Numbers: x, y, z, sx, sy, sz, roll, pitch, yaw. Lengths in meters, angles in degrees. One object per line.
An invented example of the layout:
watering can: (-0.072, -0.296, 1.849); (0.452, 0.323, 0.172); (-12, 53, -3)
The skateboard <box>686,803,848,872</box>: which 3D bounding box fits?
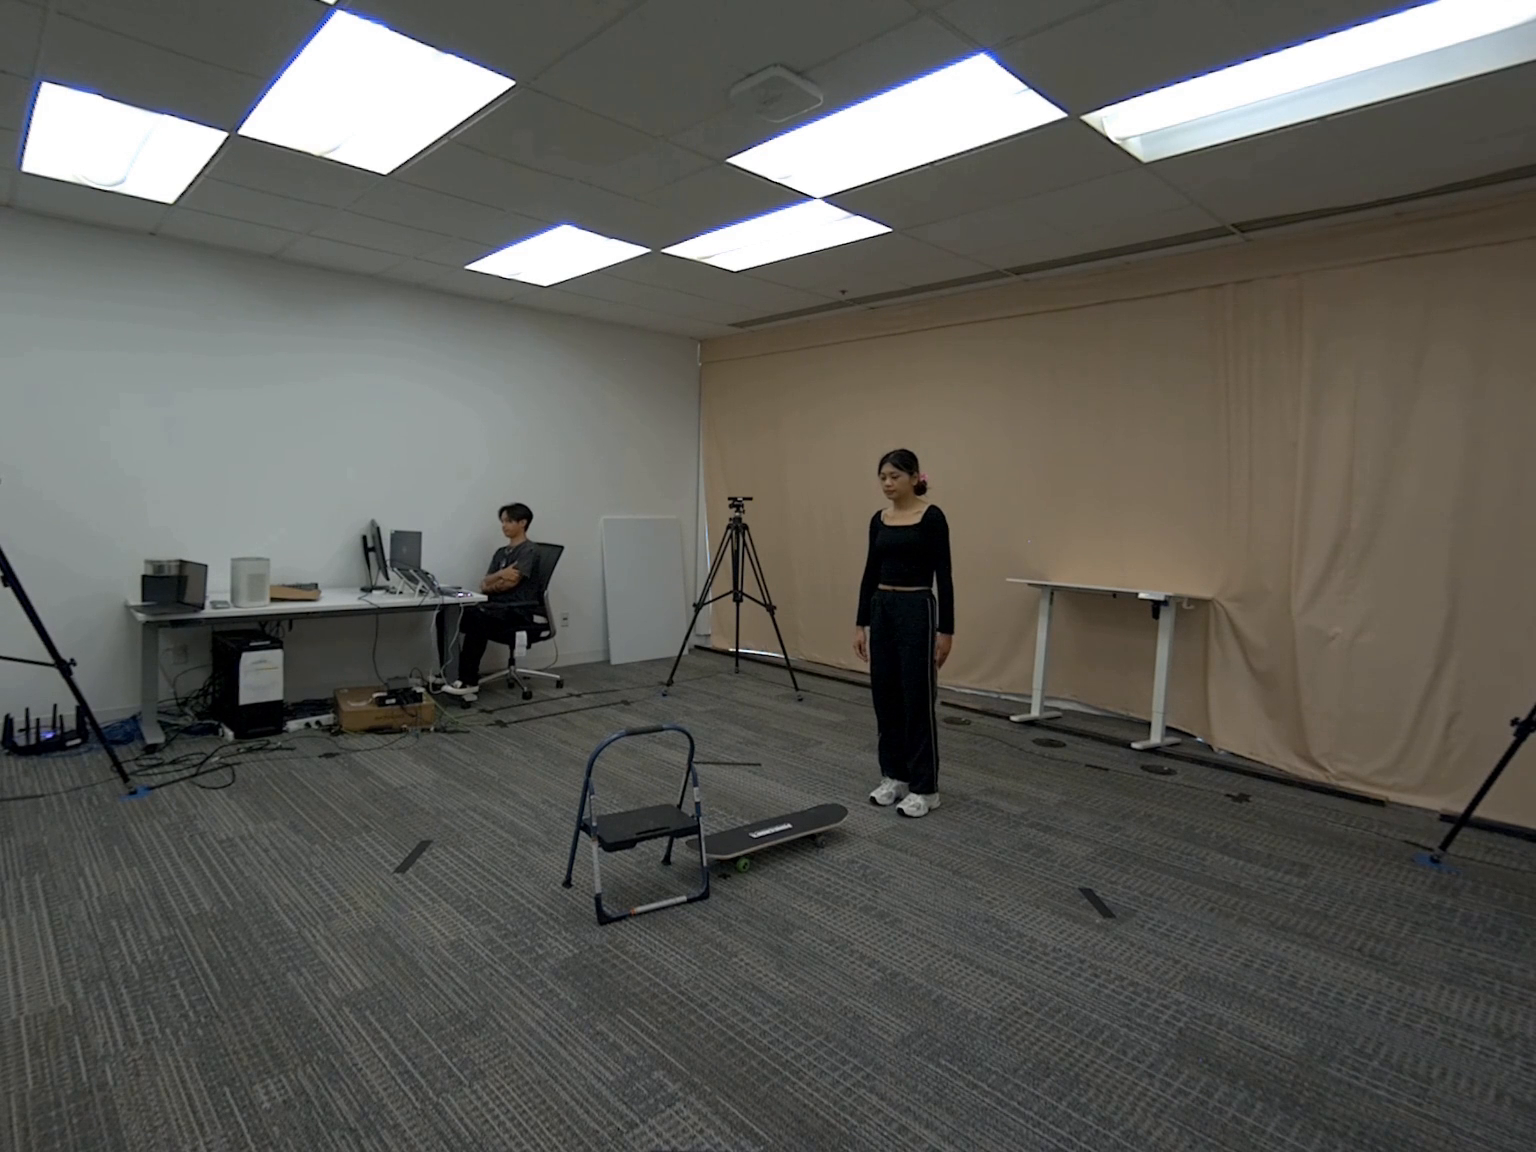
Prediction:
skateboard: (0.004, 1.036, 3.327); (0.768, 0.110, 0.198); (-3, 7, -39)
